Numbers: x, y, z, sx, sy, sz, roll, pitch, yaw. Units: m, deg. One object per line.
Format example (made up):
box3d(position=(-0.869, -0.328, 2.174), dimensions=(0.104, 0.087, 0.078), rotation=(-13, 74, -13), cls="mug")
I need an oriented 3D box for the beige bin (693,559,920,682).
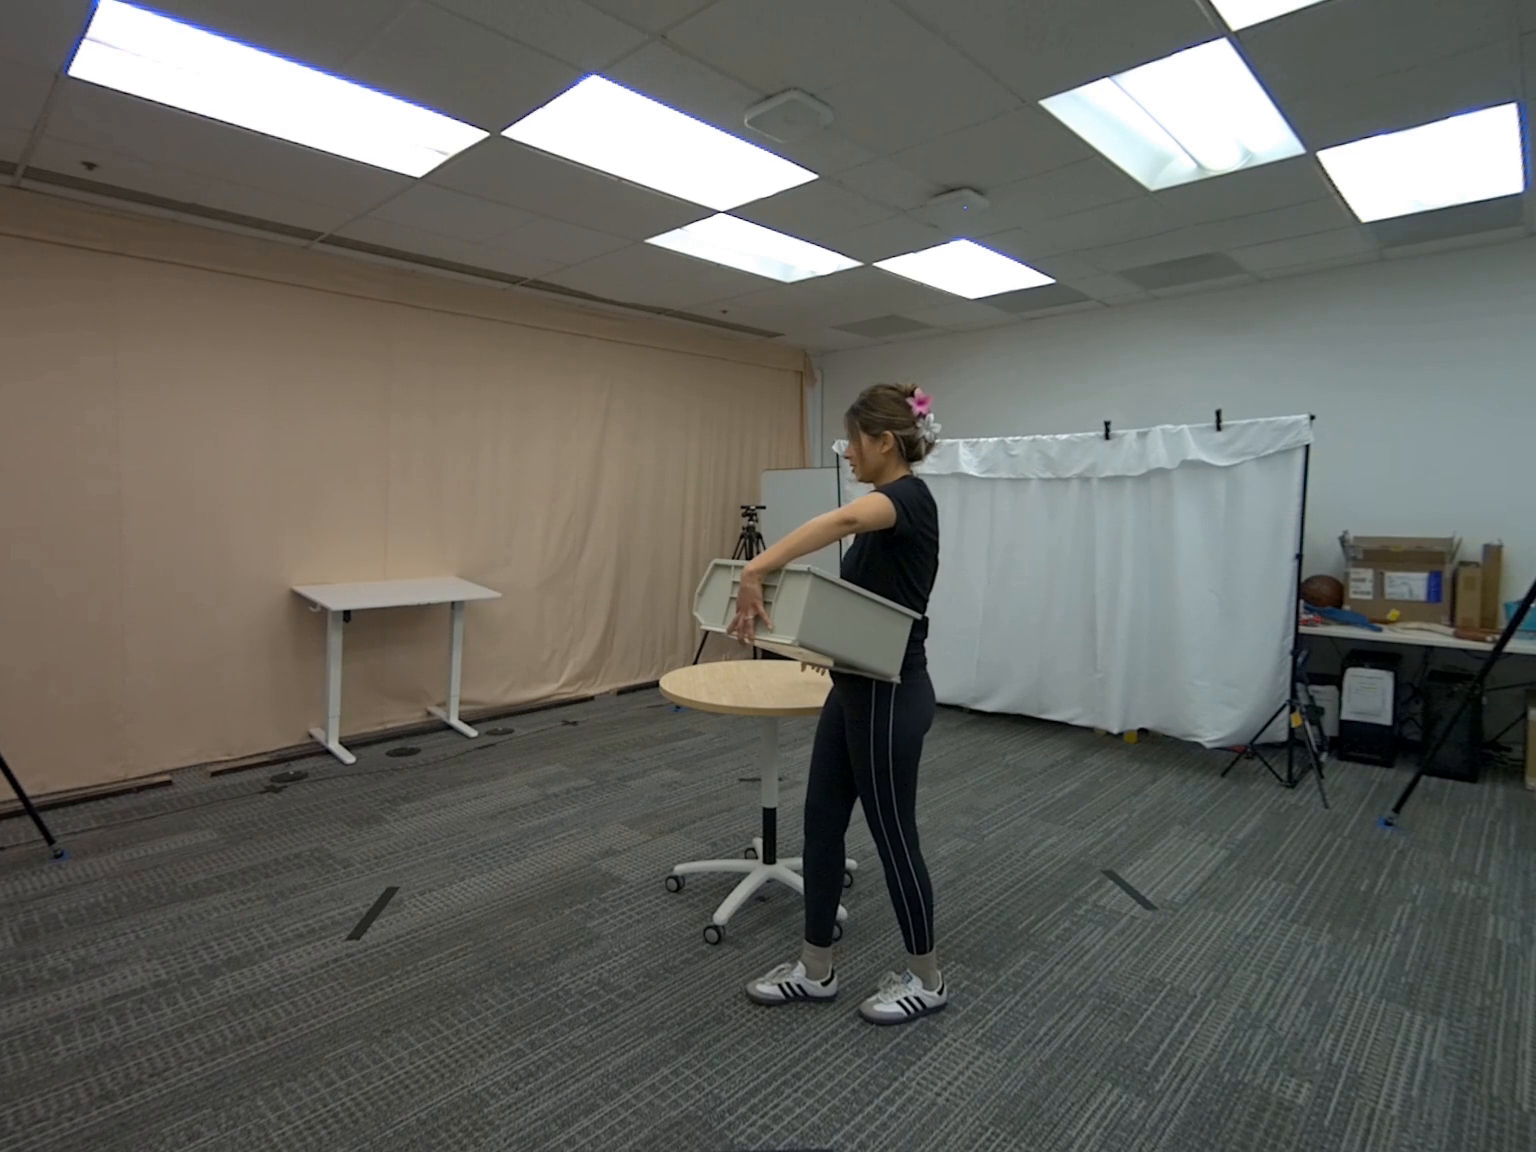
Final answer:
box3d(position=(0.094, 0.113, 2.104), dimensions=(0.407, 0.189, 0.390), rotation=(23, -11, -40), cls="beige bin")
